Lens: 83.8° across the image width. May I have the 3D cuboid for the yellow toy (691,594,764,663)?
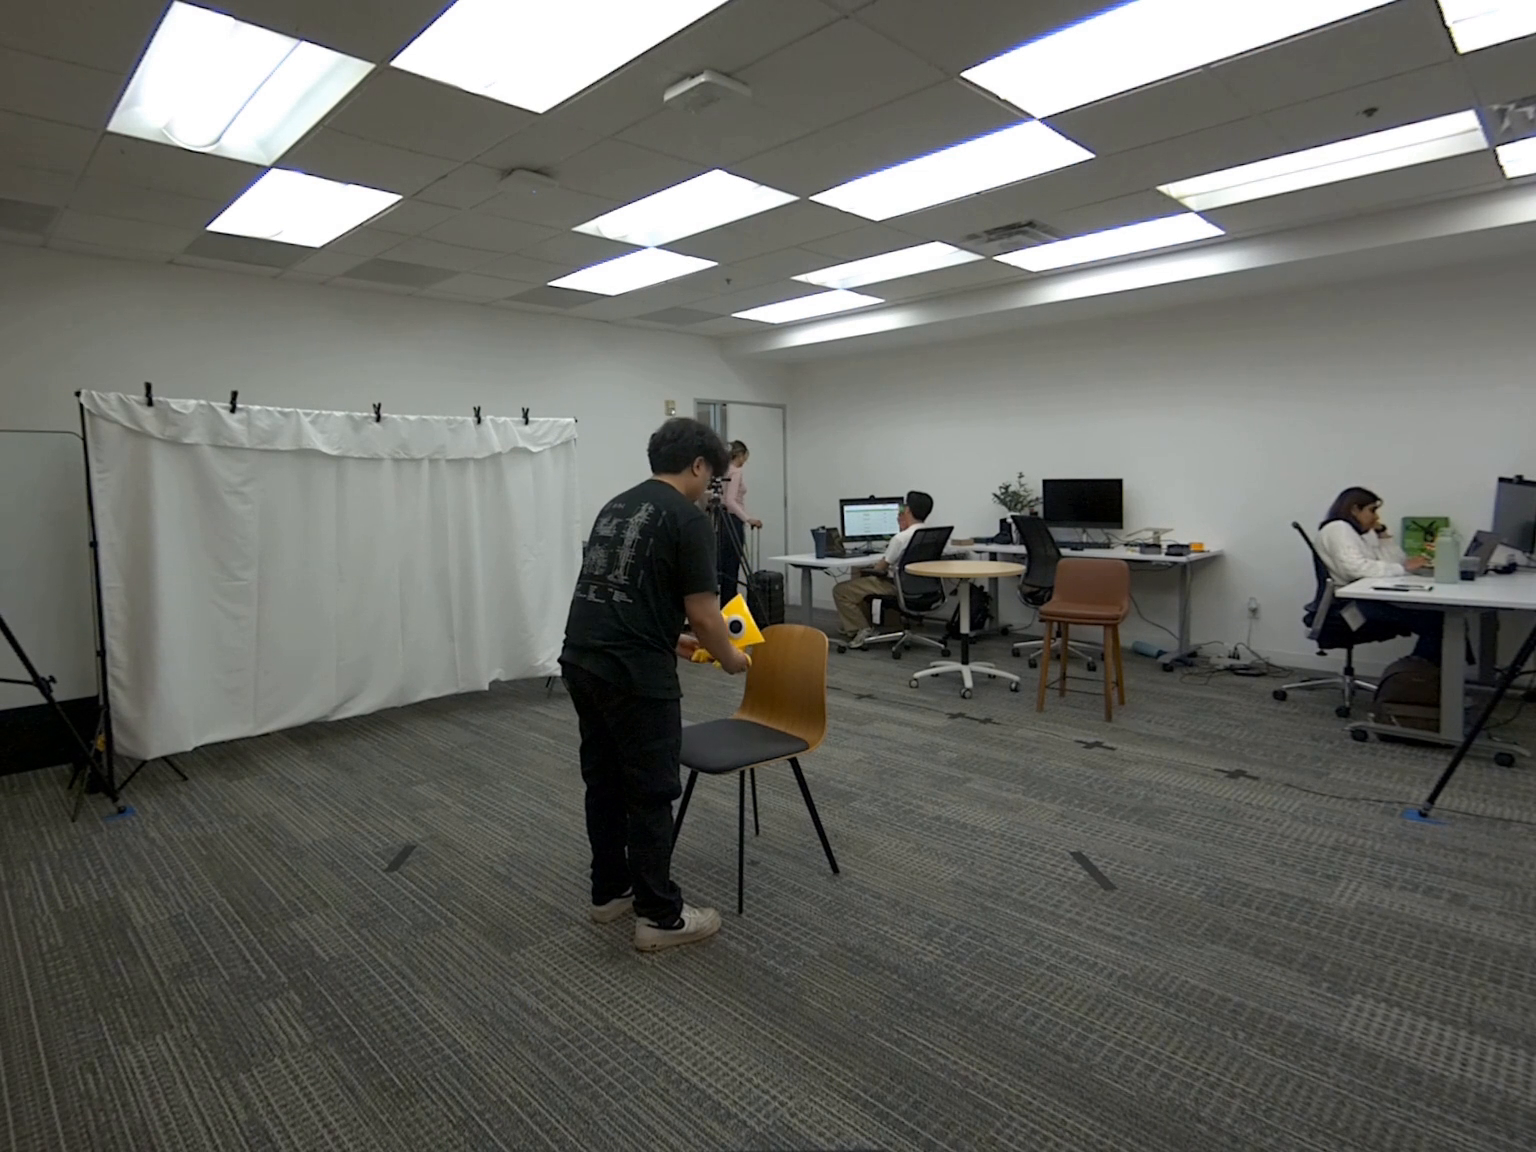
[{"bbox_3d":[-0.144,0.179,2.915,0.187,0.230,0.211,-1,6,-43],"label":"yellow toy"}]
